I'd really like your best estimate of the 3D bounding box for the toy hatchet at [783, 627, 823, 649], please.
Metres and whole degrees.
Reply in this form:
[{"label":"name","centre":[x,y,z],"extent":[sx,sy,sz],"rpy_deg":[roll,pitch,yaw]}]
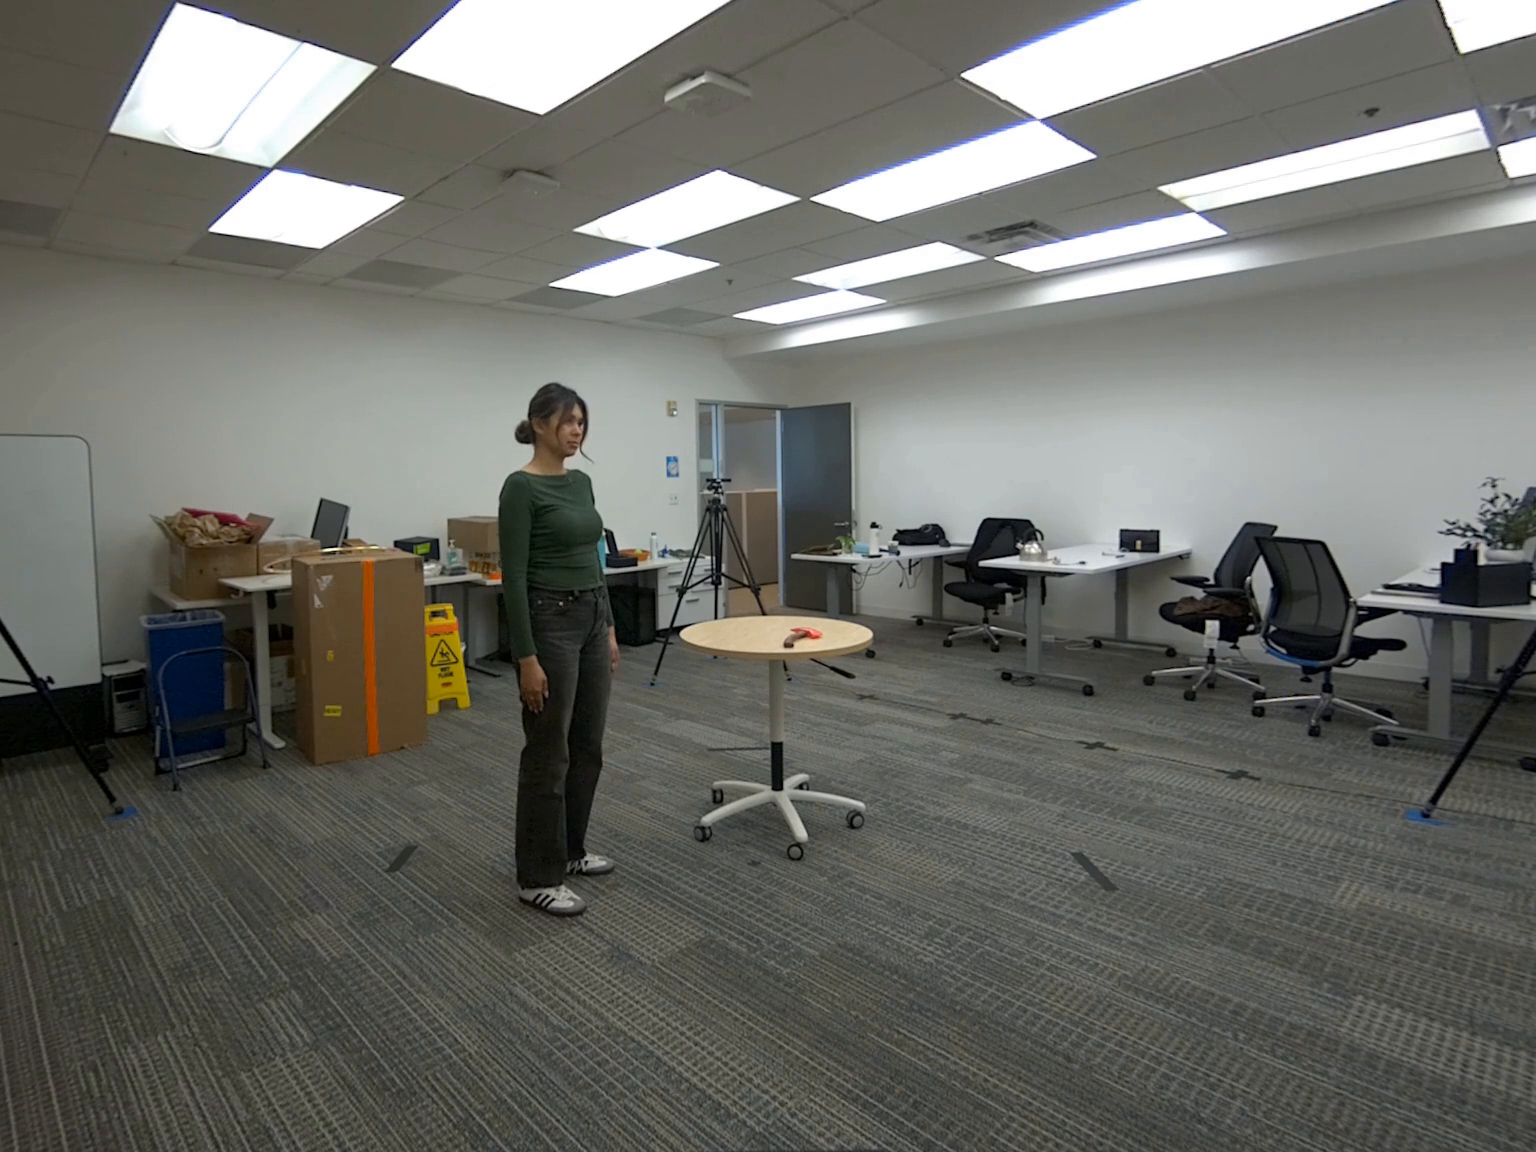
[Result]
[{"label":"toy hatchet","centre":[0.140,0.237,3.230],"extent":[0.132,0.029,0.269],"rpy_deg":[3,9,7]}]
